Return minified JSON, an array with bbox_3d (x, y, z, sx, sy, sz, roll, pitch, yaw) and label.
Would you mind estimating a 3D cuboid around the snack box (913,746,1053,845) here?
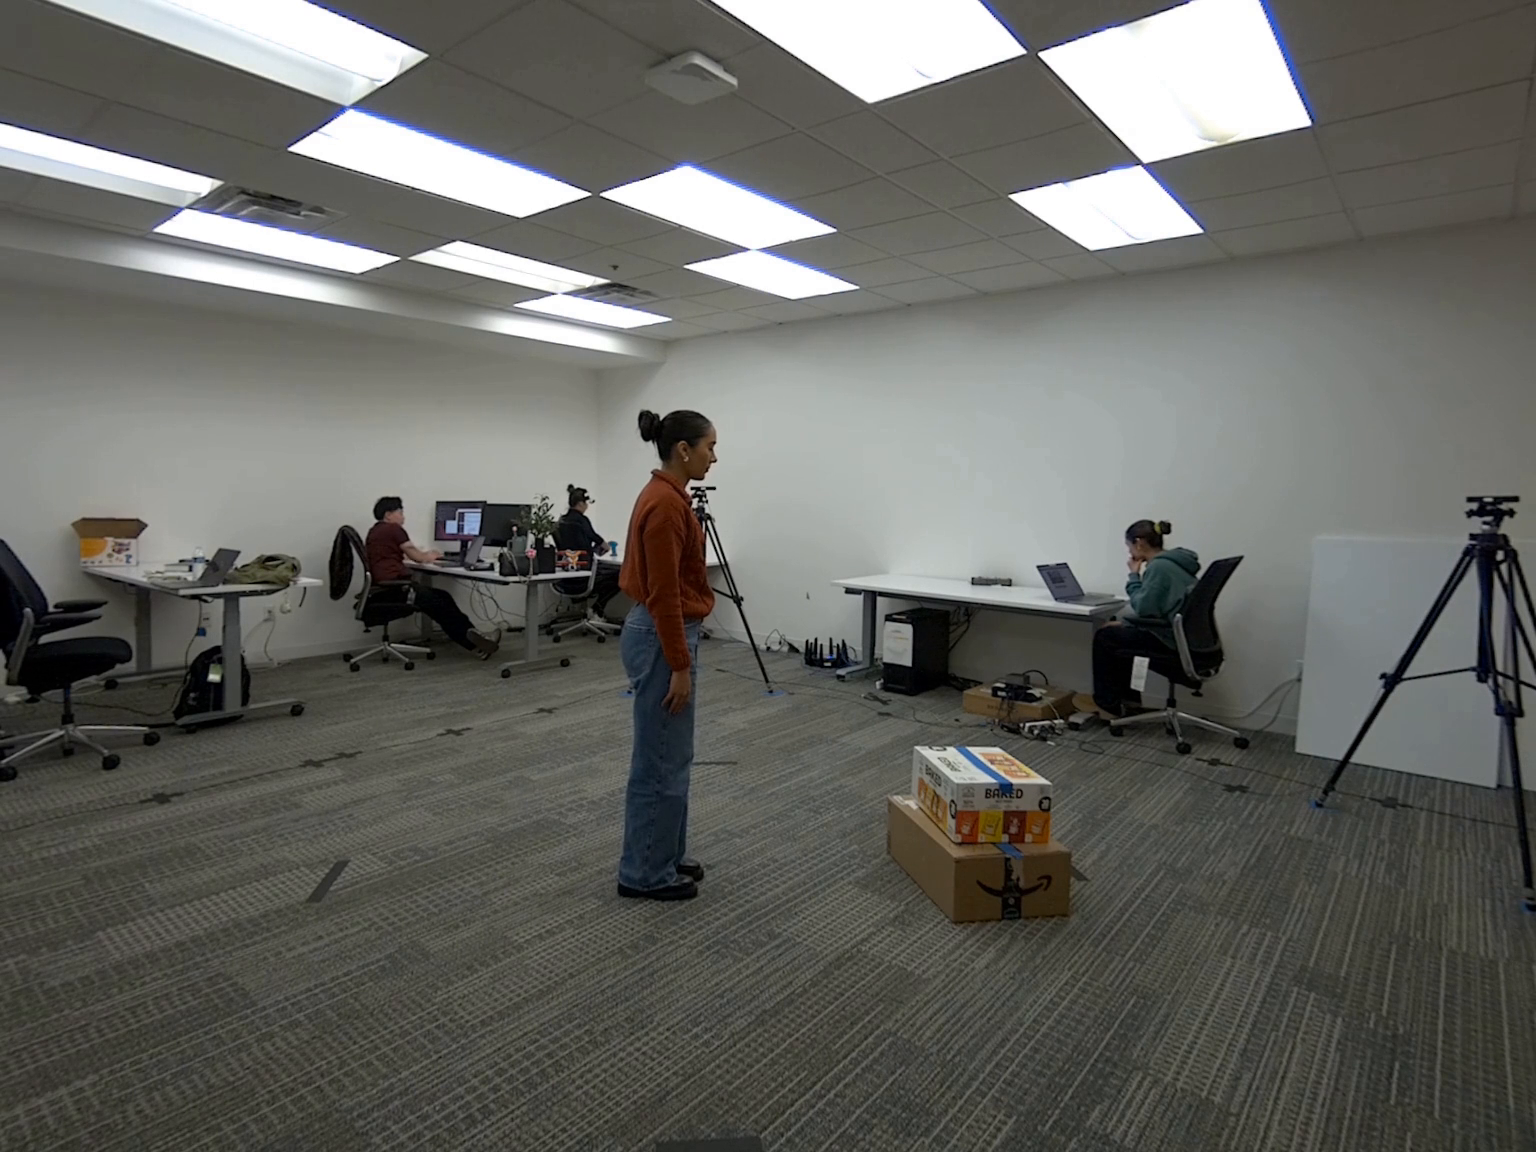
[{"bbox_3d":[0.749,0.776,3.048,0.337,0.205,0.411,2,5,-10],"label":"snack box"}]
